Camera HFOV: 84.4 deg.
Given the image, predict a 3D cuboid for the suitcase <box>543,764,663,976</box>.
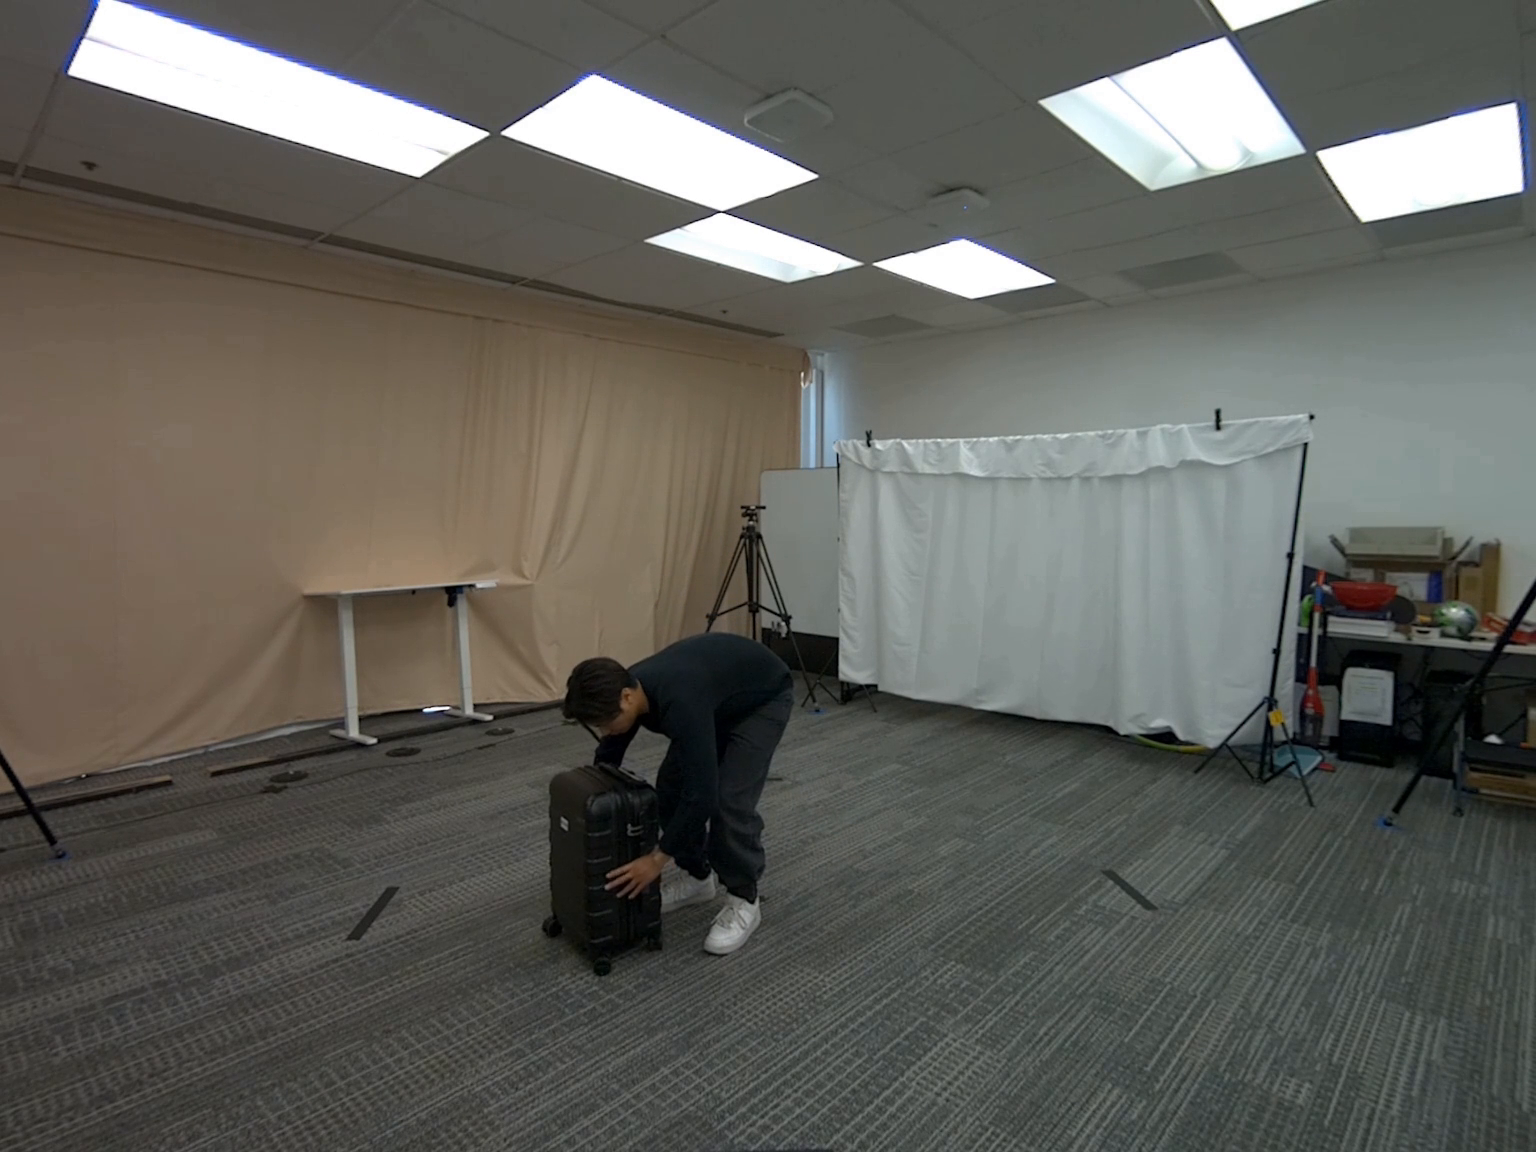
[{"bbox_3d":[-0.523,0.900,2.666,0.241,0.548,0.387,-3,5,-36],"label":"suitcase"}]
